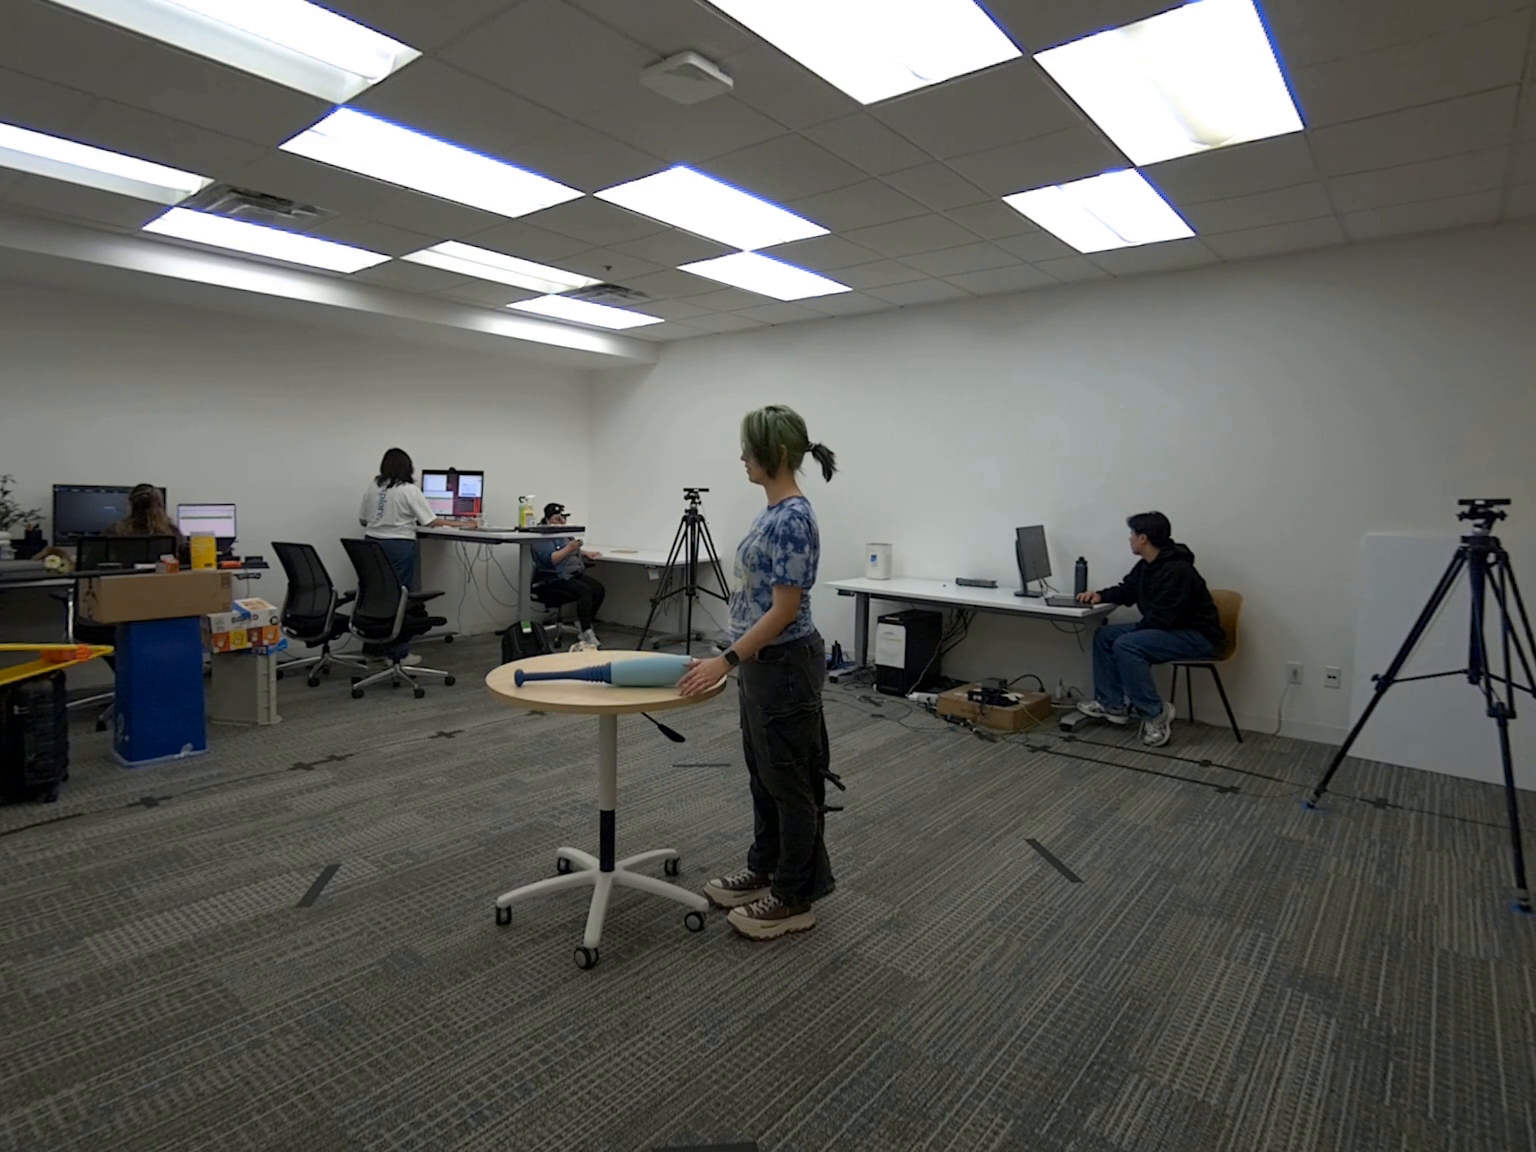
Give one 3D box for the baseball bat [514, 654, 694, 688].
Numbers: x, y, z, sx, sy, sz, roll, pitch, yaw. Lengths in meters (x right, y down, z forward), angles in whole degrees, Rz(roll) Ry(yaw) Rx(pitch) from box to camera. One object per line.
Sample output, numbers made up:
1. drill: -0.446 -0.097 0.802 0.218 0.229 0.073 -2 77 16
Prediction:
1. baseball bat: -0.514 0.297 2.587 0.540 0.089 0.090 -2 4 -5
